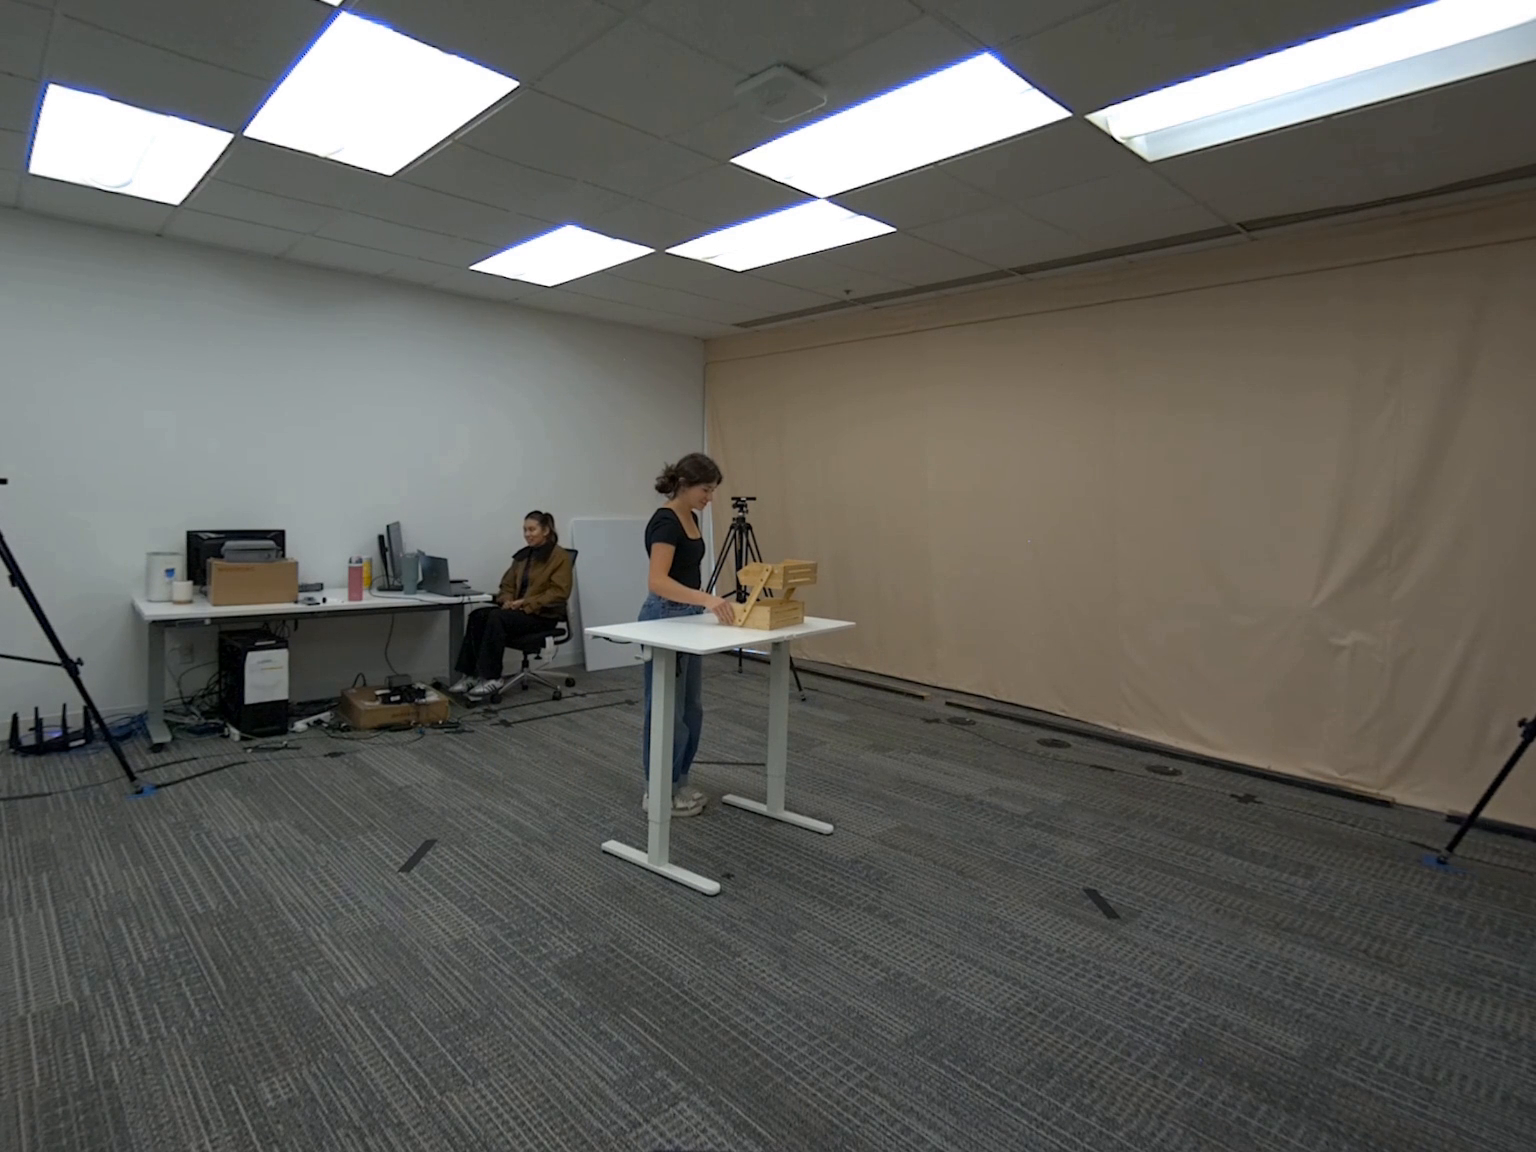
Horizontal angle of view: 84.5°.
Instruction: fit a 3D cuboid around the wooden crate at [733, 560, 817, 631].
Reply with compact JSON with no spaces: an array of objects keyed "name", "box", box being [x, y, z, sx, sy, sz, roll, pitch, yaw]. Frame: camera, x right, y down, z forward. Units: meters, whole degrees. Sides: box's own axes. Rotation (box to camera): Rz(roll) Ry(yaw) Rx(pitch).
[{"name":"wooden crate","box":[-0.012,0.065,3.456,0.309,0.272,0.318,5,5,29]}]
